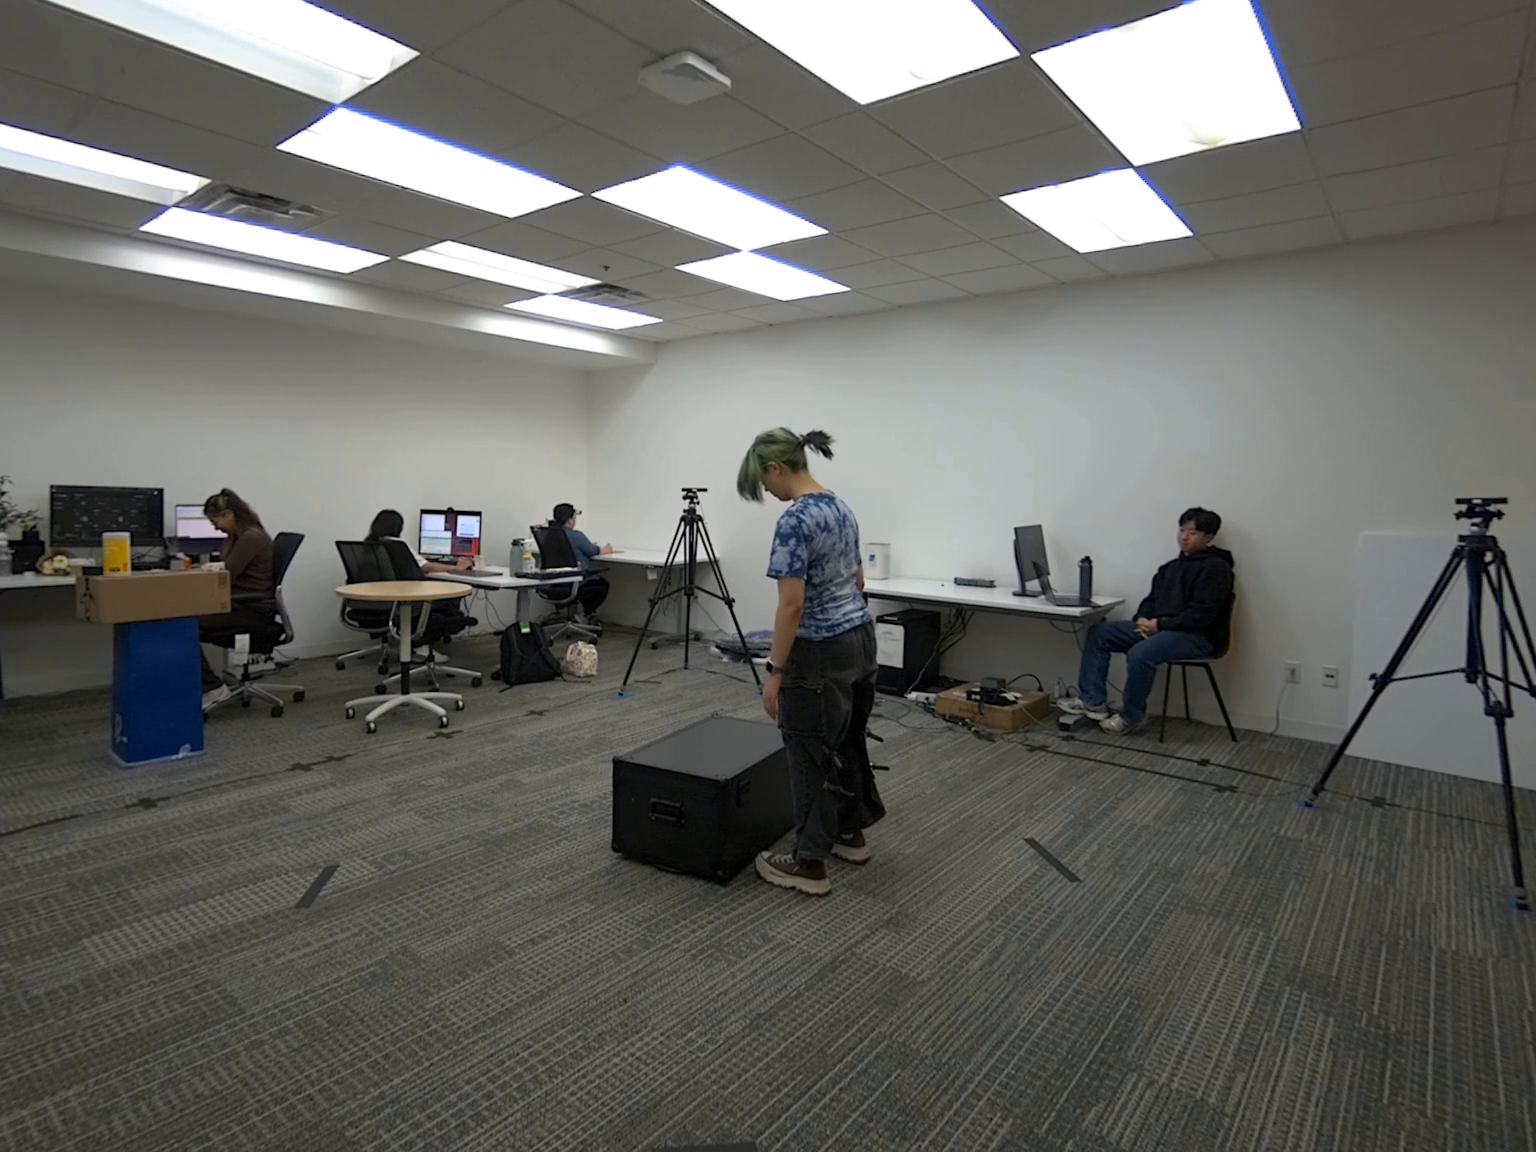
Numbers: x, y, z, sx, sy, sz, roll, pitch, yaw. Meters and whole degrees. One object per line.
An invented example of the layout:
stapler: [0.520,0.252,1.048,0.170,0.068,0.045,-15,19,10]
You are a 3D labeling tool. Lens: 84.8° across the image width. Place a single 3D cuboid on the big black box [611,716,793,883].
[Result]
big black box: [-0.196,0.848,3.433,0.535,0.395,0.842,3,6,26]
